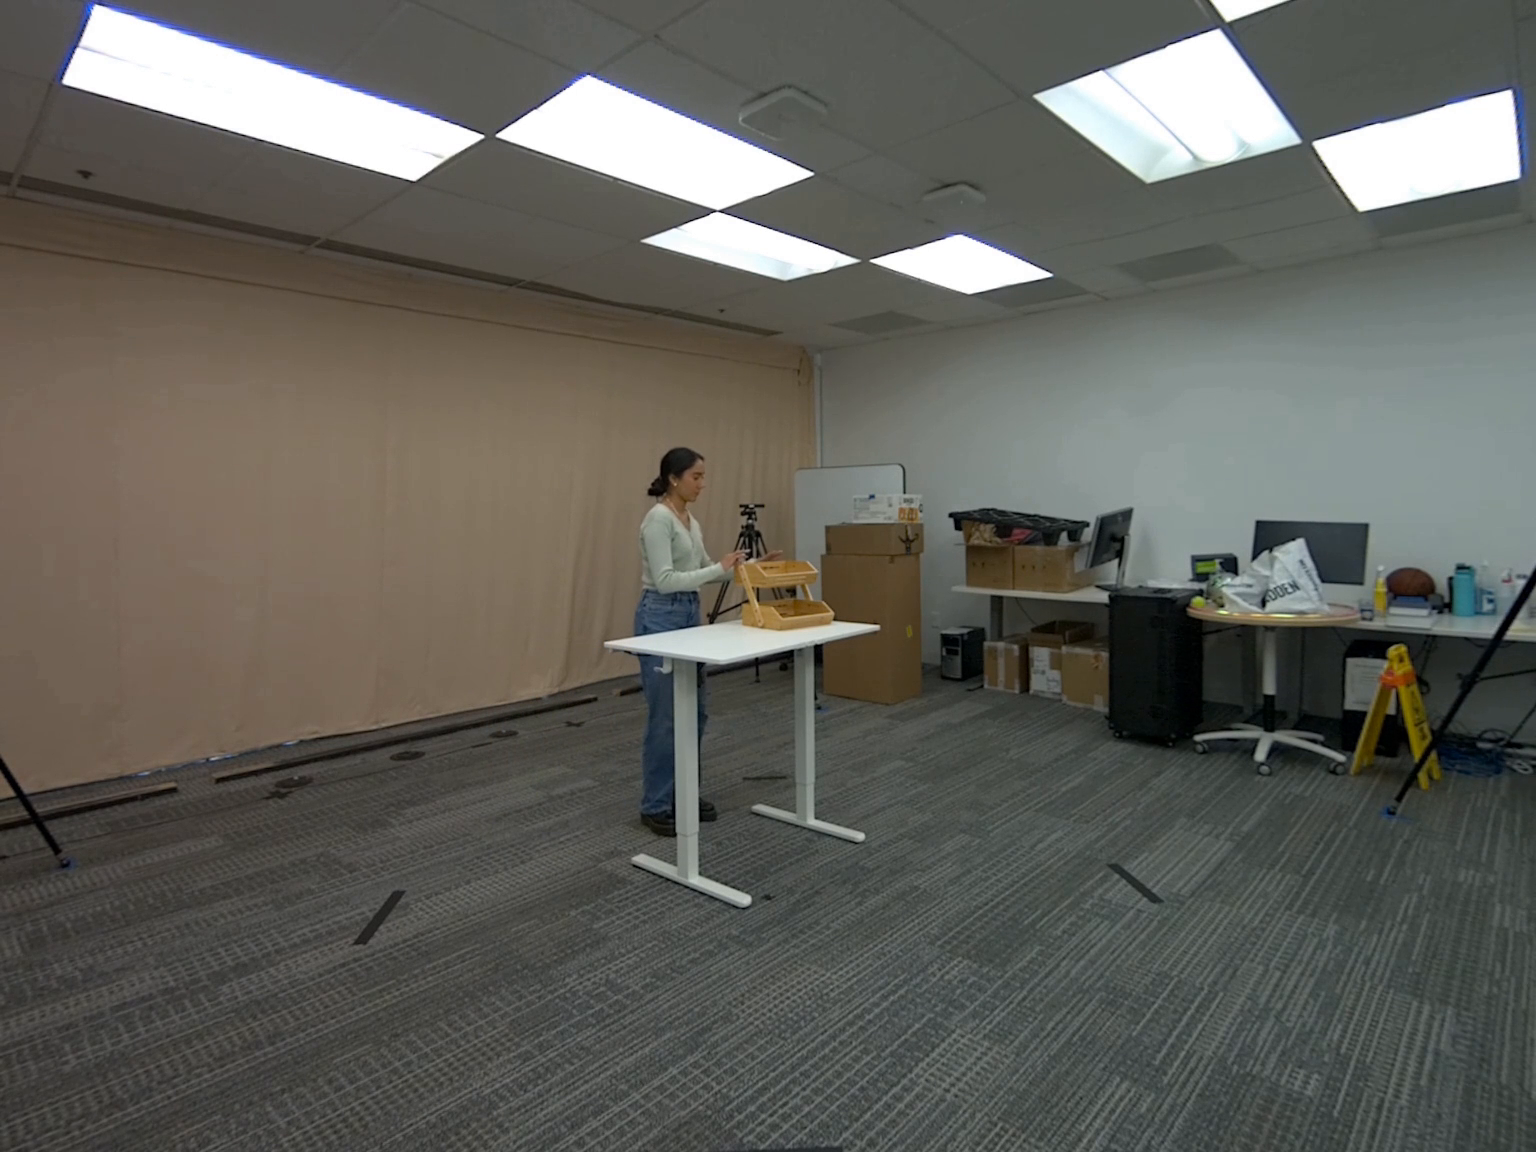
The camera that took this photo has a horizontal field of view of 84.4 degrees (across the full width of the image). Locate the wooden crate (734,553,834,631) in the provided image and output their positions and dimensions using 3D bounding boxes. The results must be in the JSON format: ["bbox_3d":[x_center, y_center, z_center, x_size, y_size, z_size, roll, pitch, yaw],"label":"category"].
[{"bbox_3d":[0.070,0.076,3.588,0.314,0.273,0.312,-2,3,-39],"label":"wooden crate"}]
